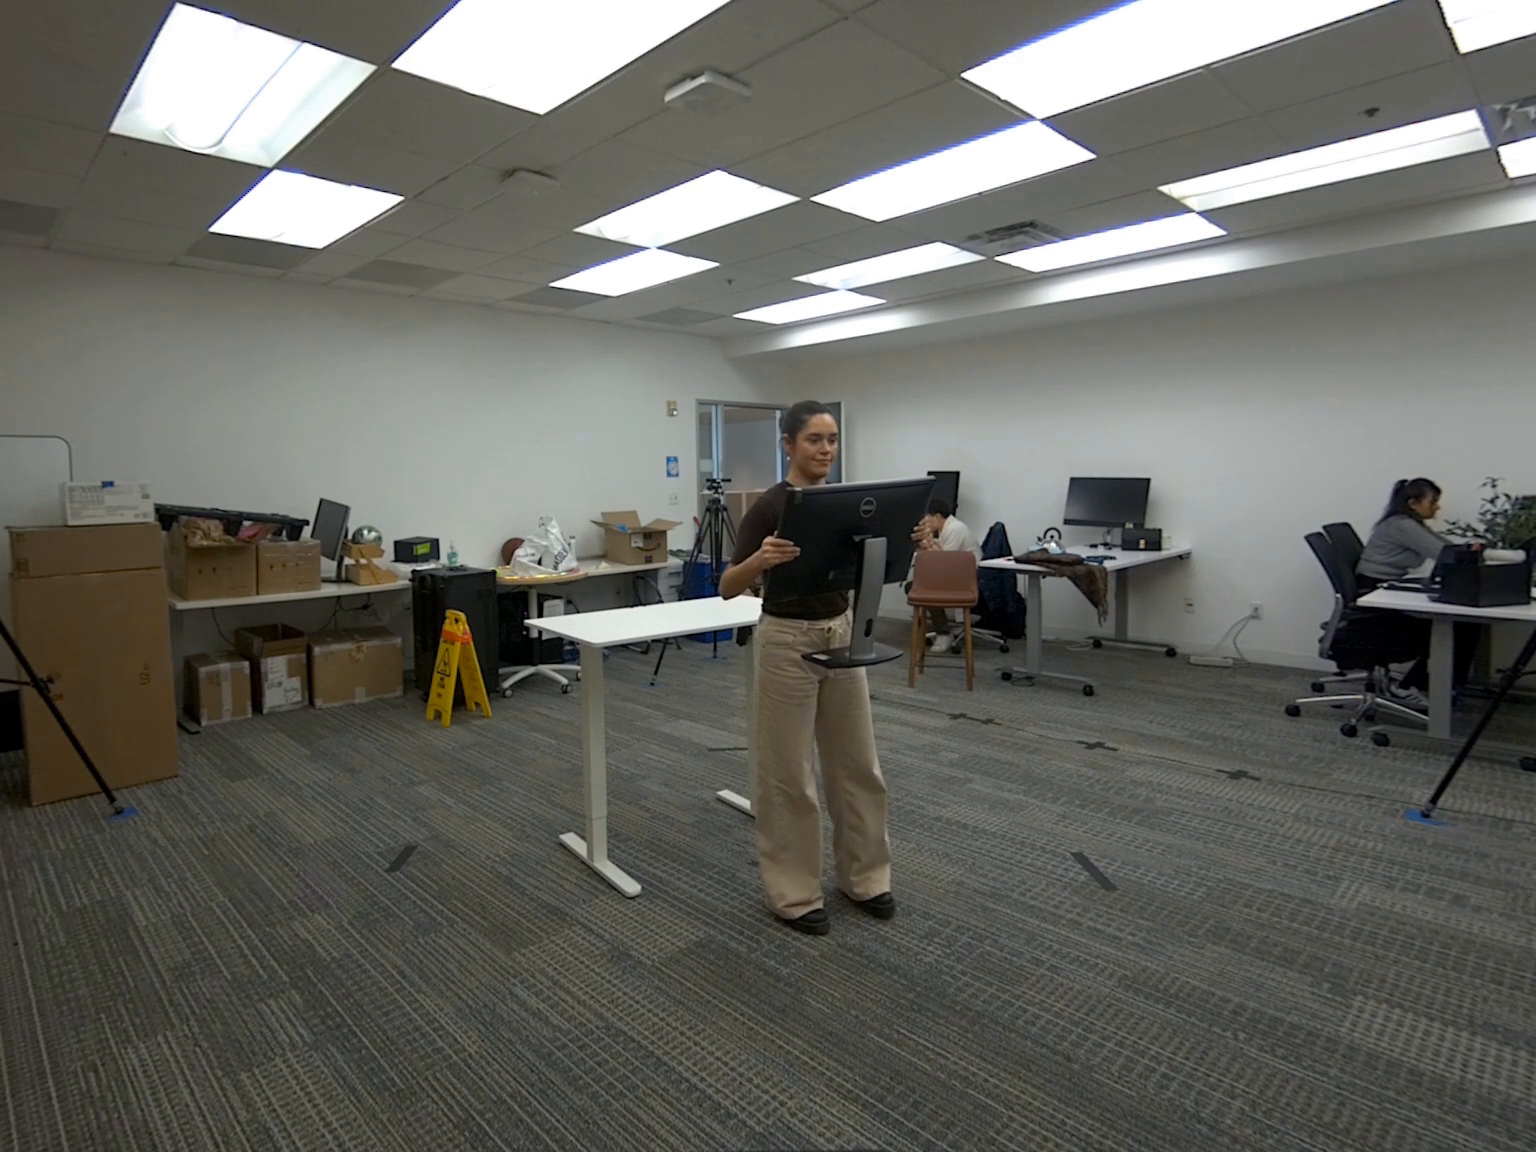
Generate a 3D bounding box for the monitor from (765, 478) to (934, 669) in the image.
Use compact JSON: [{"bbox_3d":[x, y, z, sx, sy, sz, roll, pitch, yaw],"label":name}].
[{"bbox_3d":[0.257,-0.006,2.448,0.527,0.517,0.193,-8,15,-34],"label":"monitor"}]
